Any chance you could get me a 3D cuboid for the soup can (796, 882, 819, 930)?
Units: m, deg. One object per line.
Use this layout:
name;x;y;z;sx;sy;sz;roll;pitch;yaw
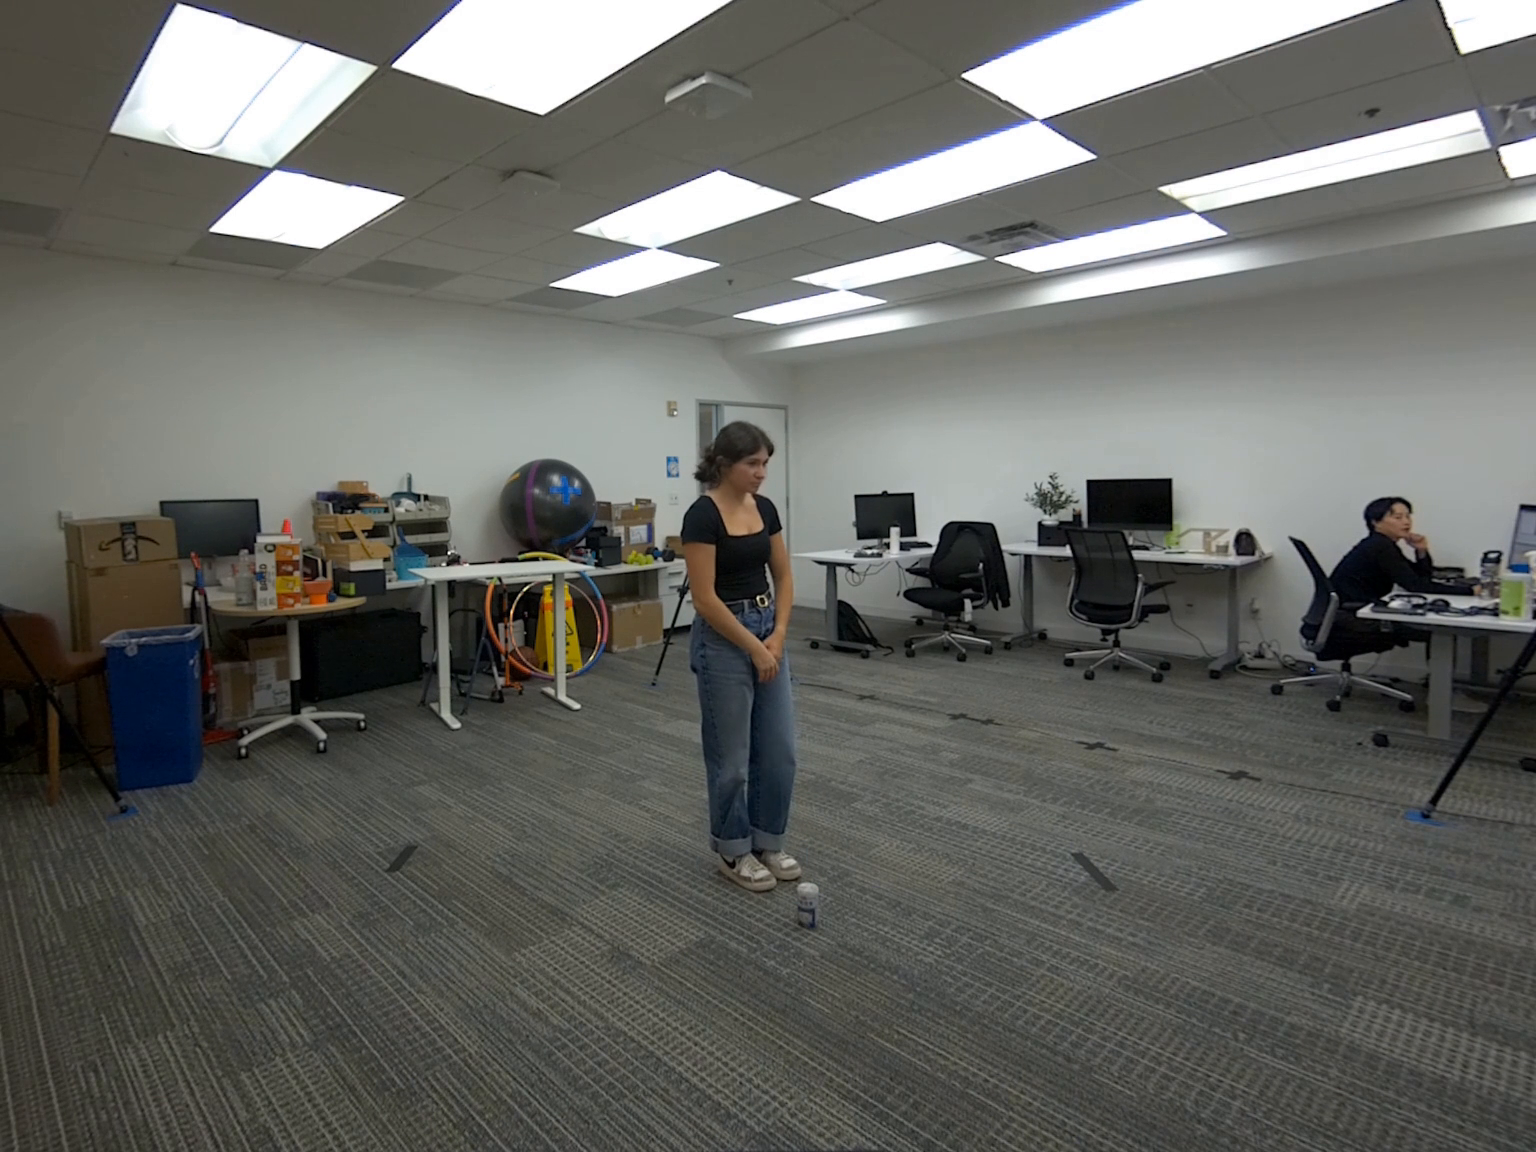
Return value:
soup can;0.126;1.037;2.673;0.067;0.121;0.067;-3;7;-1
